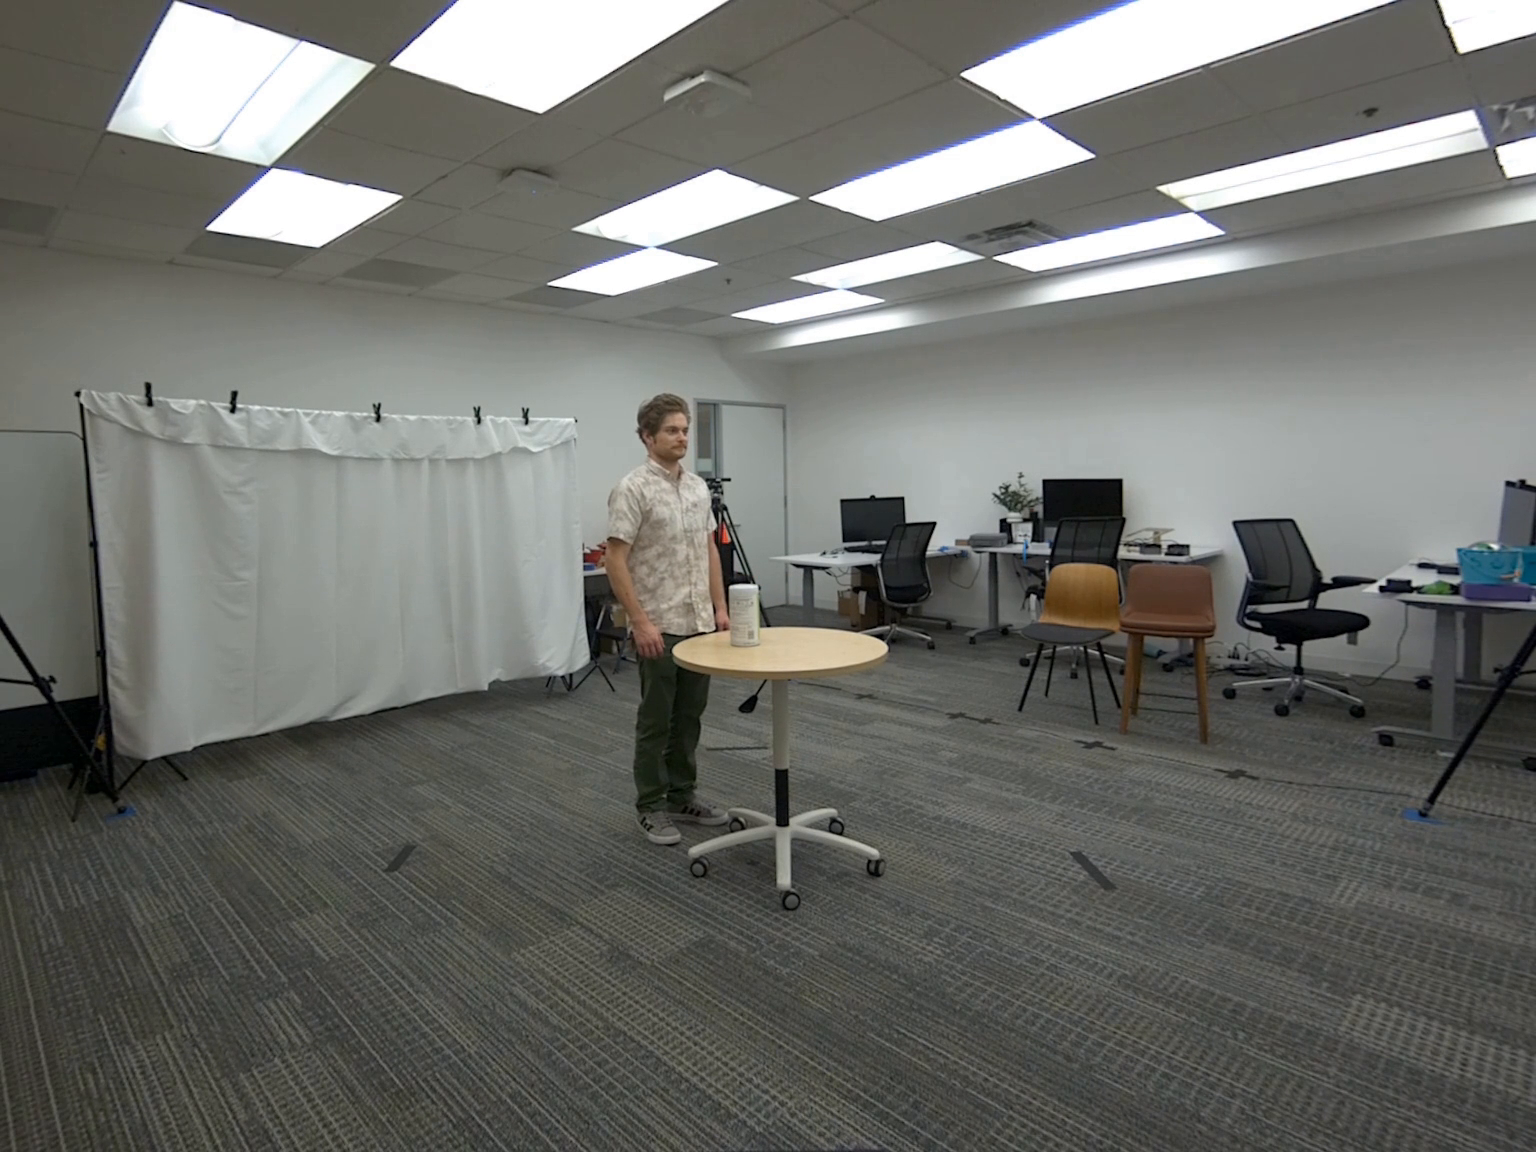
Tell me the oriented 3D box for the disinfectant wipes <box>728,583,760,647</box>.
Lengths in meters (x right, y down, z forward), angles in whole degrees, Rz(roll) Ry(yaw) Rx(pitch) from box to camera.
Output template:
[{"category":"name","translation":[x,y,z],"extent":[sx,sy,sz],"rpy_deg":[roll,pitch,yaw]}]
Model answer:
[{"category":"disinfectant wipes","translation":[-0.077,0.144,3.107],"extent":[0.118,0.217,0.118],"rpy_deg":[-2,2,-2]}]
